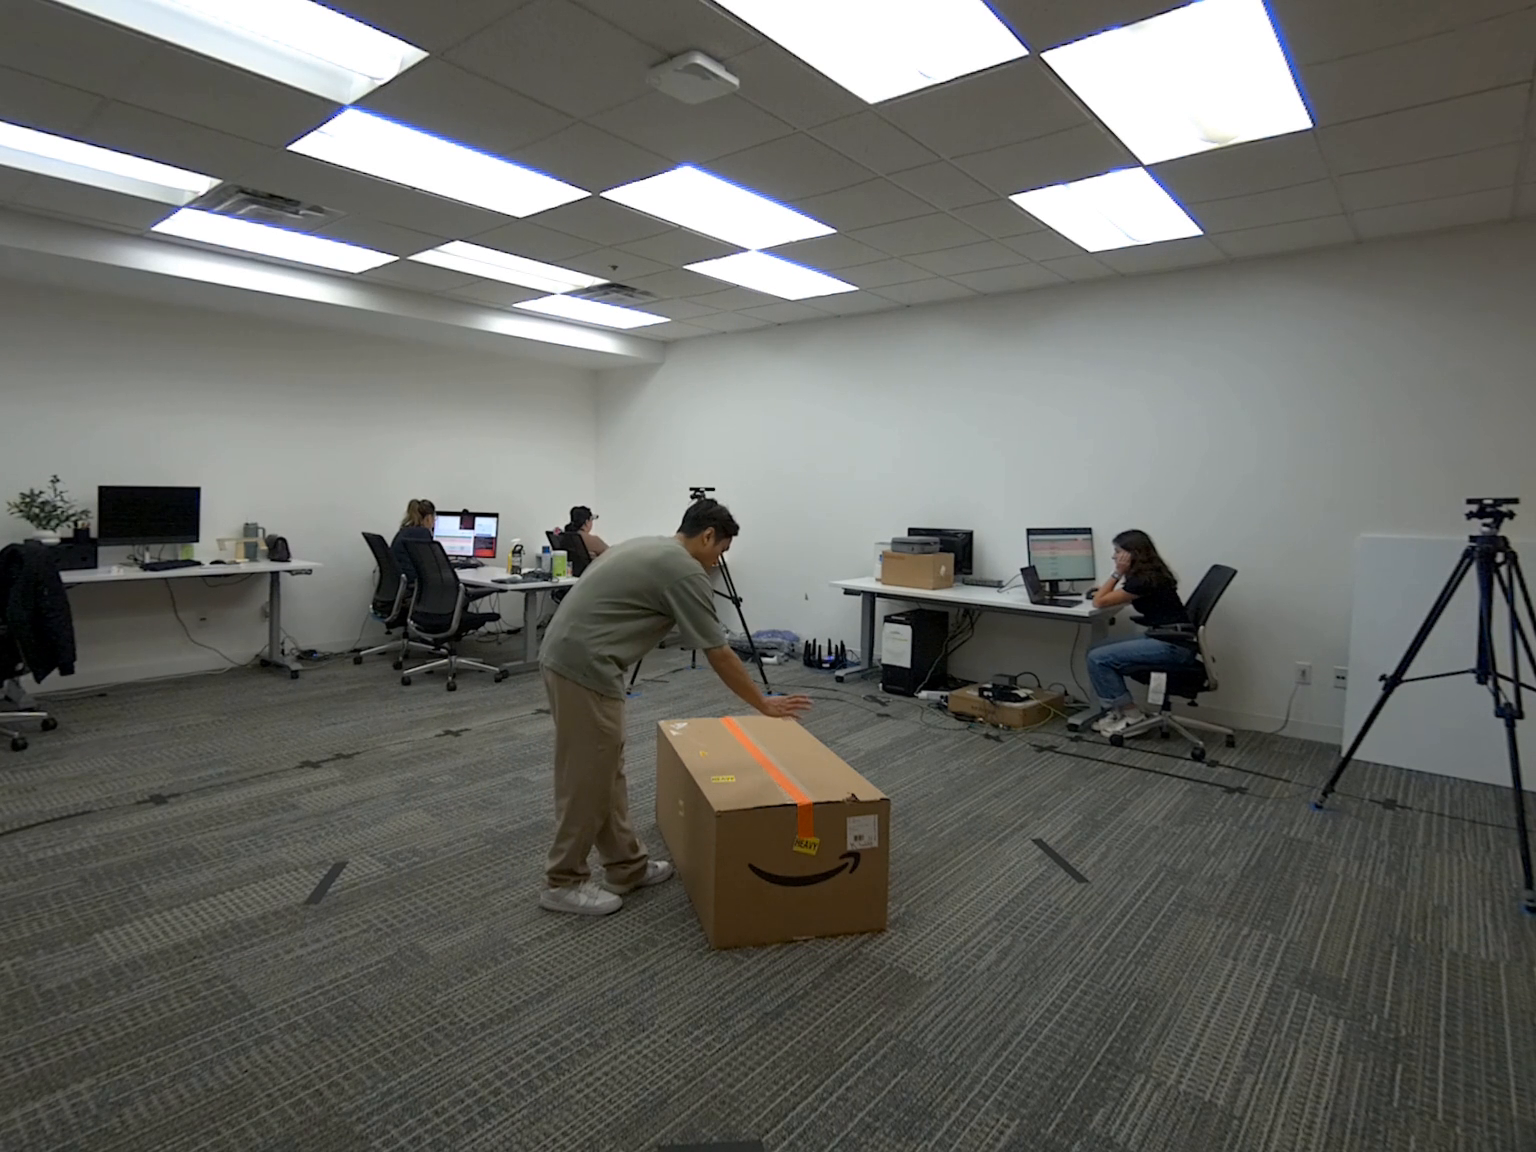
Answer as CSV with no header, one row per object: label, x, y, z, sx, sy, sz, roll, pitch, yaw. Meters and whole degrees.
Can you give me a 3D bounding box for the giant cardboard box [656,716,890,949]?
giant cardboard box,-0.046,0.850,3.101,0.568,0.424,1.046,-1,6,-16
